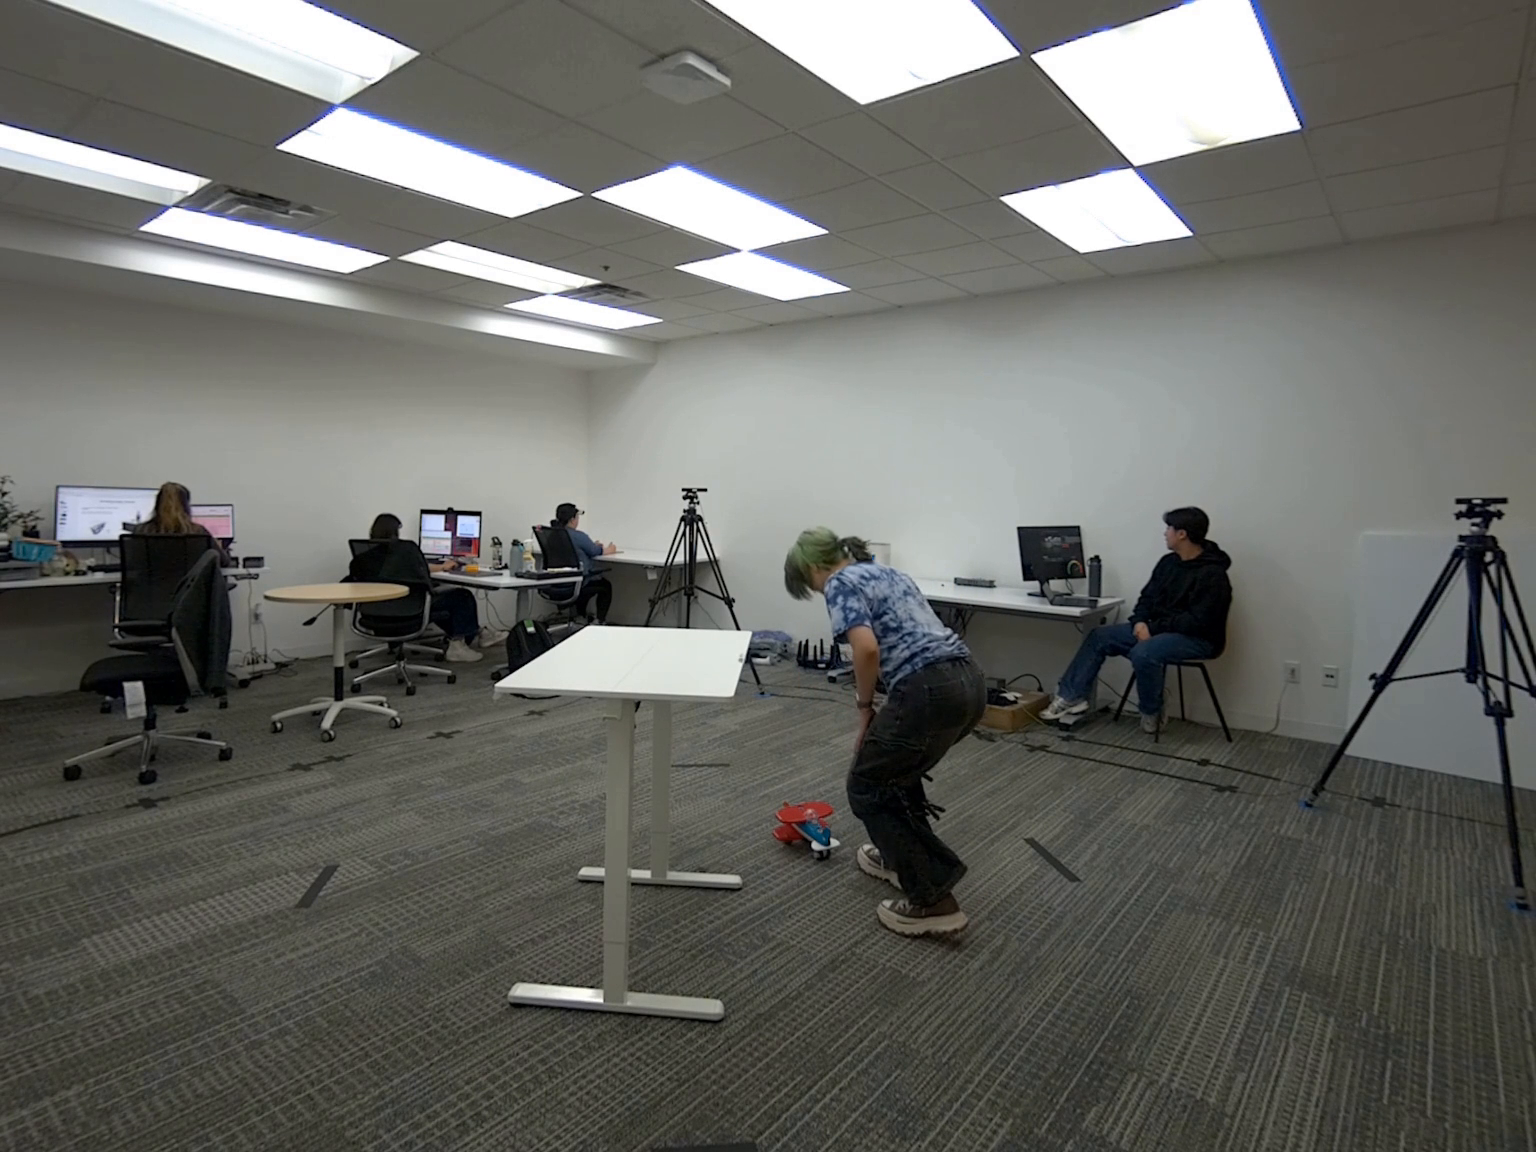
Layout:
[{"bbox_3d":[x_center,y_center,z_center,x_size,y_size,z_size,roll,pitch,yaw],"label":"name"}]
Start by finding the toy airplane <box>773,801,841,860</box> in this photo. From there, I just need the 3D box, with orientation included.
[{"bbox_3d":[0.157,0.982,3.312,0.267,0.156,0.245,3,4,29],"label":"toy airplane"}]
